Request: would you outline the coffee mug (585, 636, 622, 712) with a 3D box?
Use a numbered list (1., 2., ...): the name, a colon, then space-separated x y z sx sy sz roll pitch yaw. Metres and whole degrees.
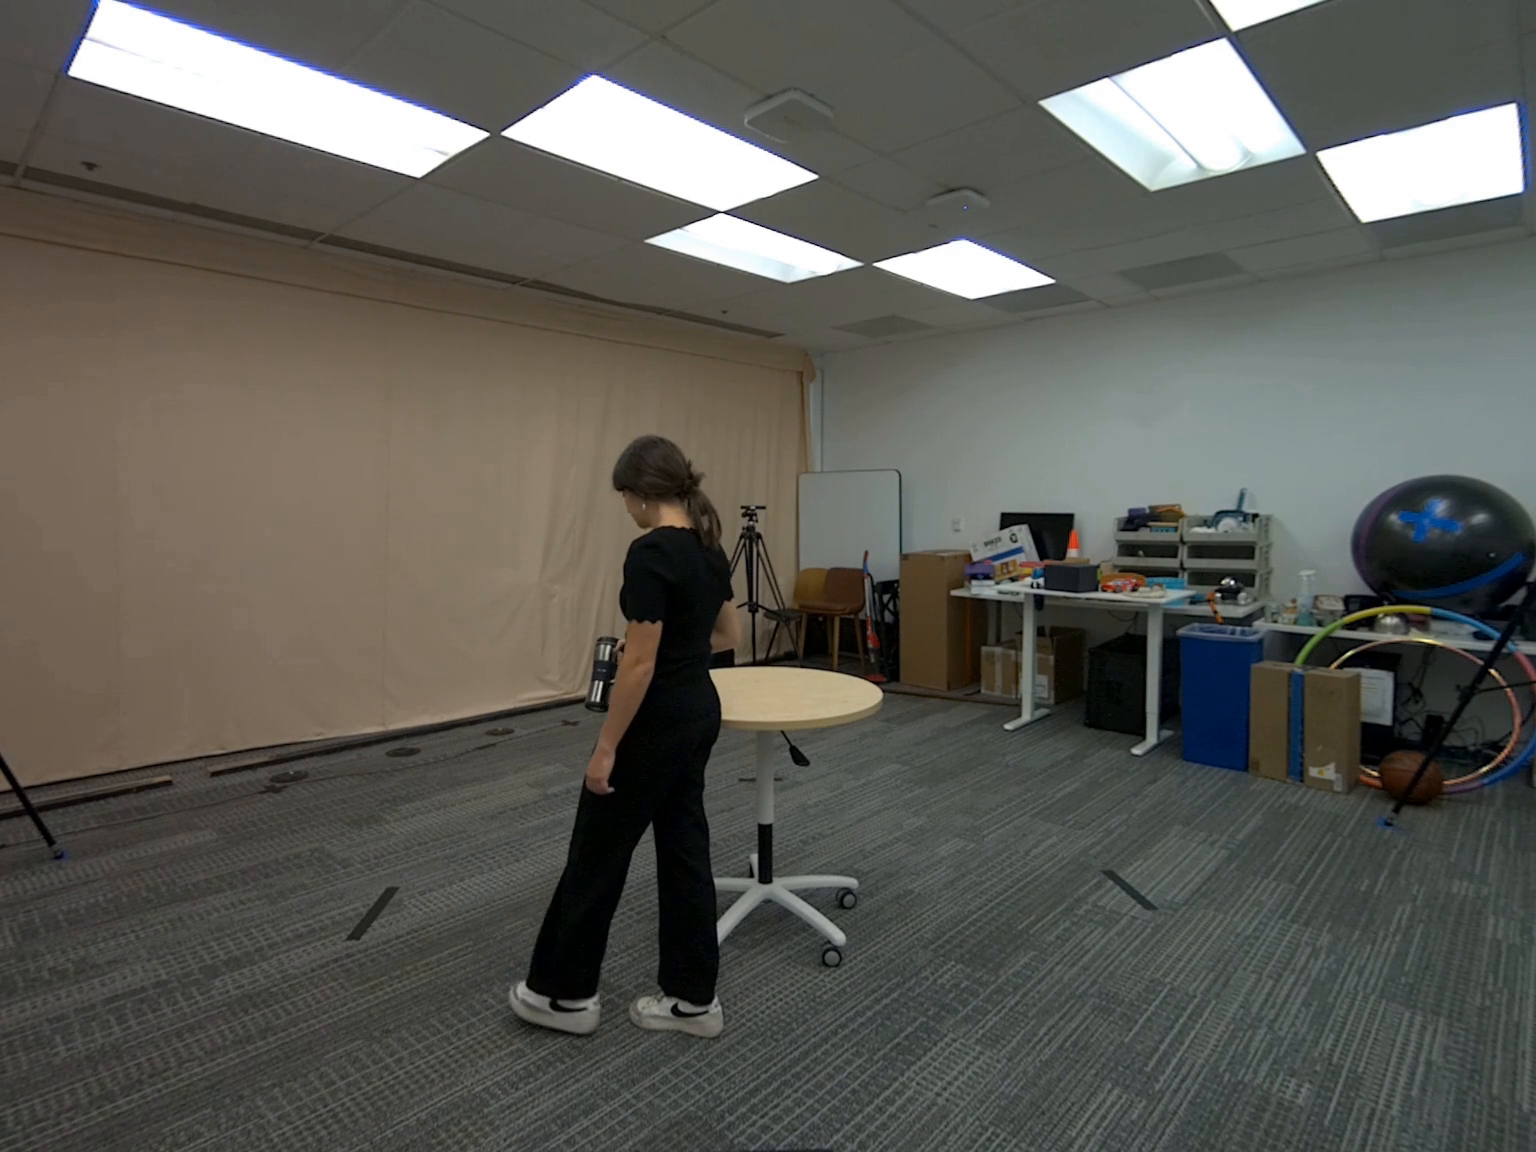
1. coffee mug: -0.457 0.287 2.400 0.085 0.205 0.124 26 -31 -31
